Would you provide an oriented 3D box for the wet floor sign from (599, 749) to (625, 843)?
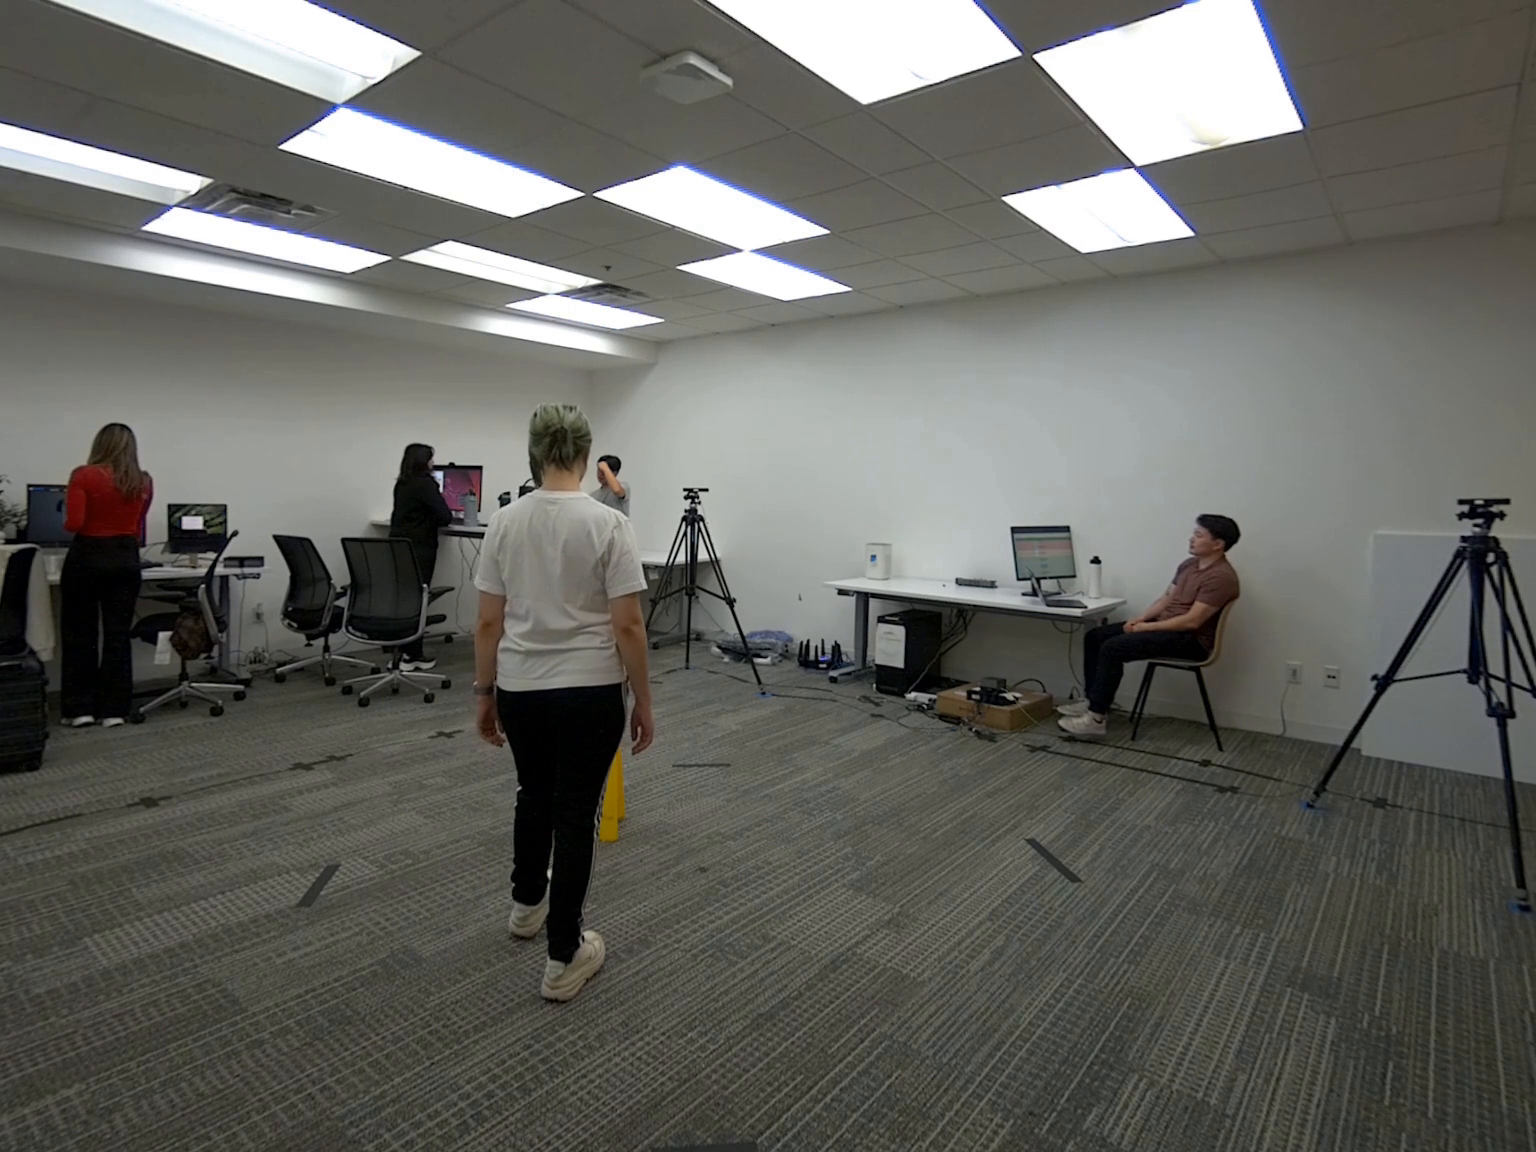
[{"bbox_3d":[-0.755,0.699,3.448,0.282,0.644,0.290,-1,3,-1],"label":"wet floor sign"}]
